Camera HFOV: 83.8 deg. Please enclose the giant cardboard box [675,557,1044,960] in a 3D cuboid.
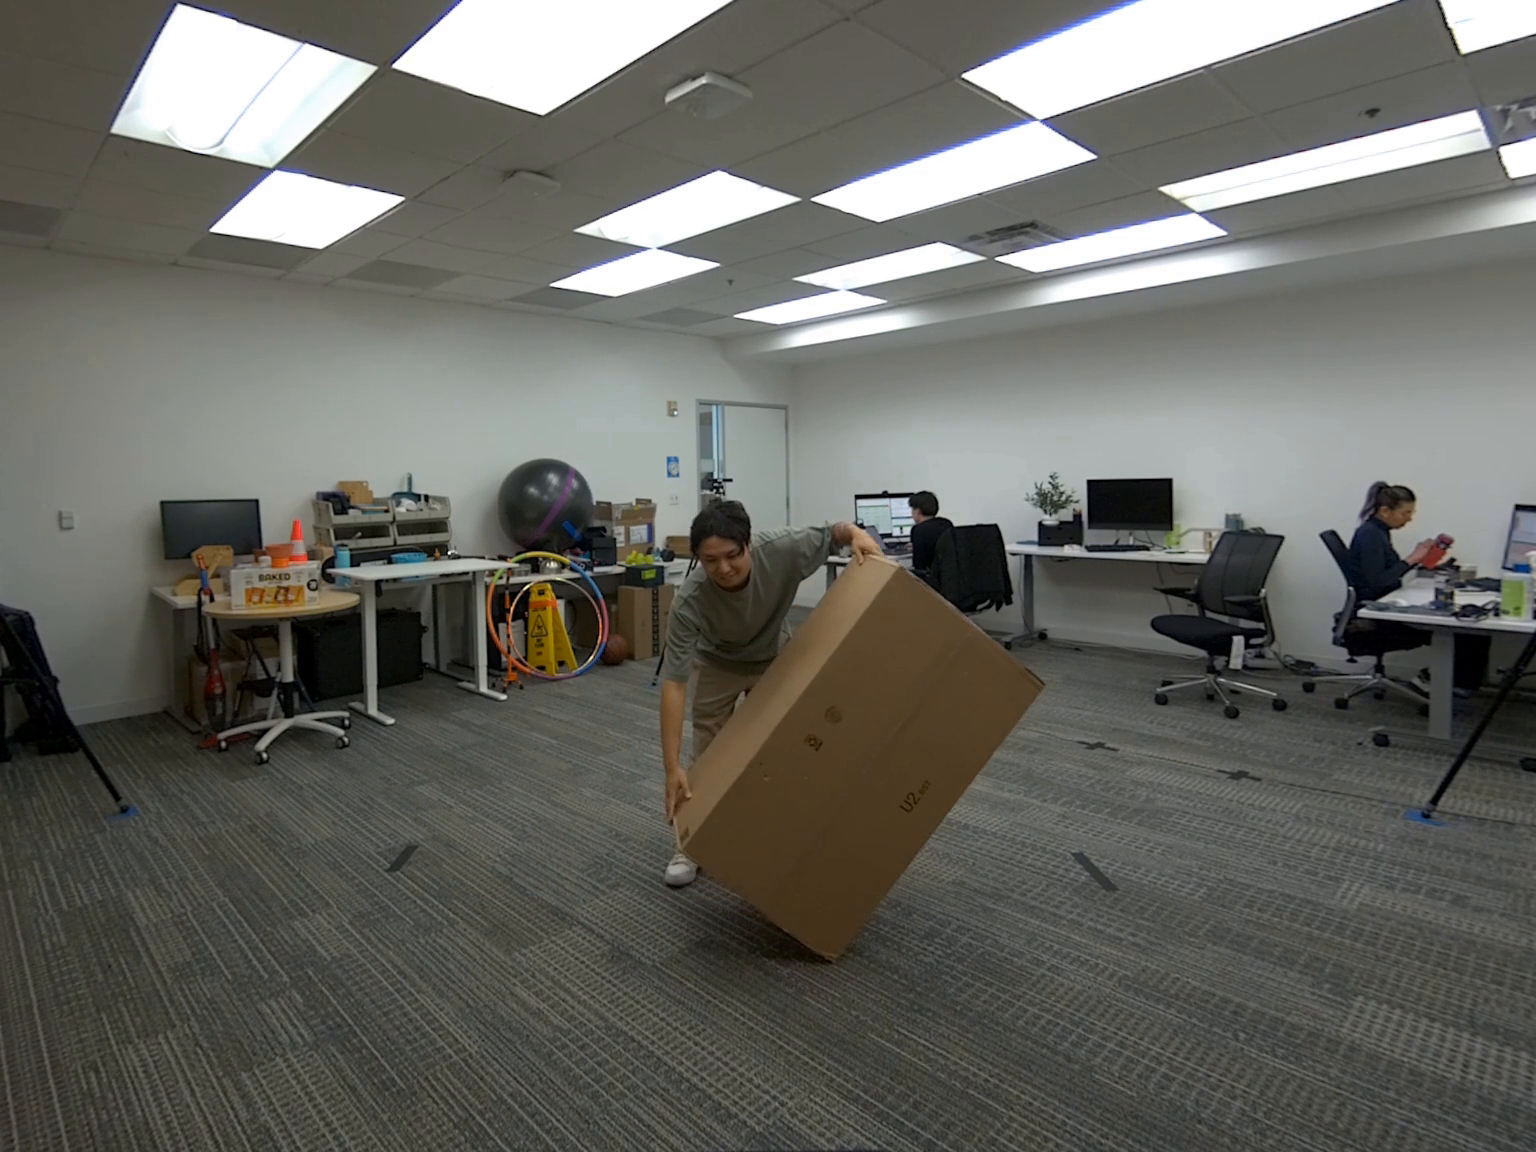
[{"bbox_3d":[0.255,0.525,2.628,0.570,1.026,0.431,38,-1,-10],"label":"giant cardboard box"}]
